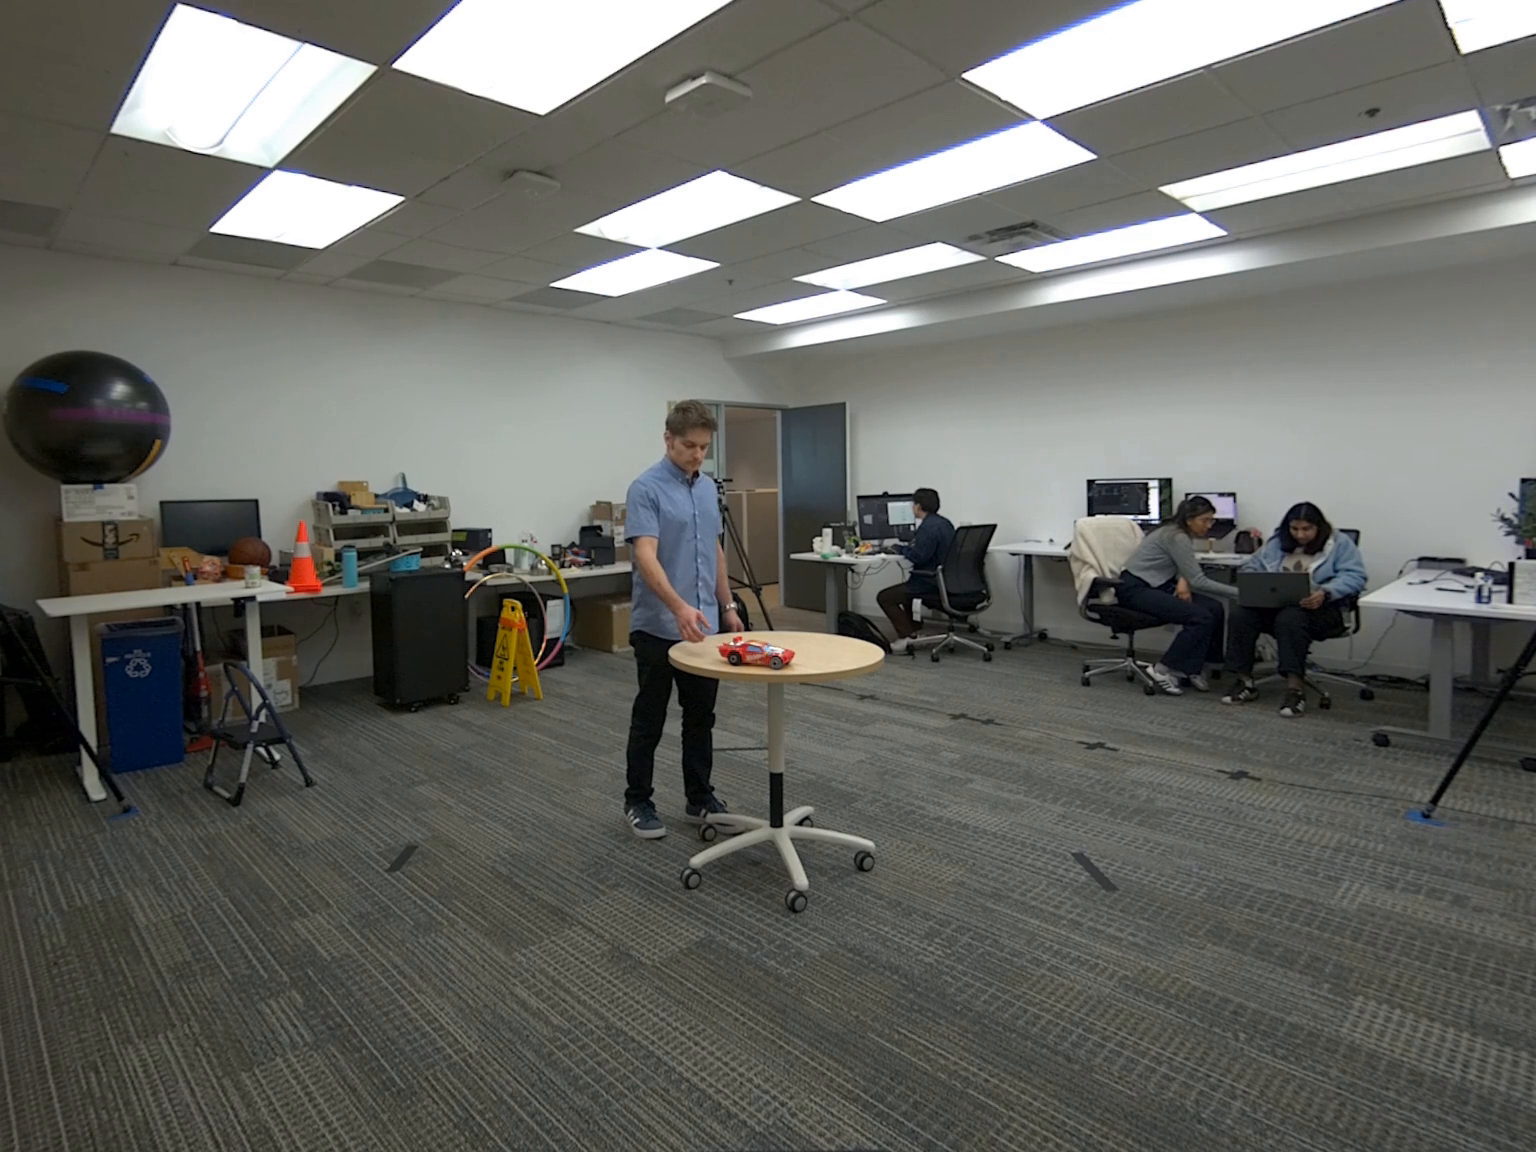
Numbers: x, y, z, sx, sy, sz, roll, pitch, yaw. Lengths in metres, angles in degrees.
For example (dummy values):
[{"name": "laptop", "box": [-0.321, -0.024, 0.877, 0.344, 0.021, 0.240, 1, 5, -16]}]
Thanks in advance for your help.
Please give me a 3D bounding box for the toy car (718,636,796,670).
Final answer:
[{"name": "toy car", "box": [-0.040, 0.259, 2.828, 0.261, 0.083, 0.128, 14, 10, 22]}]
